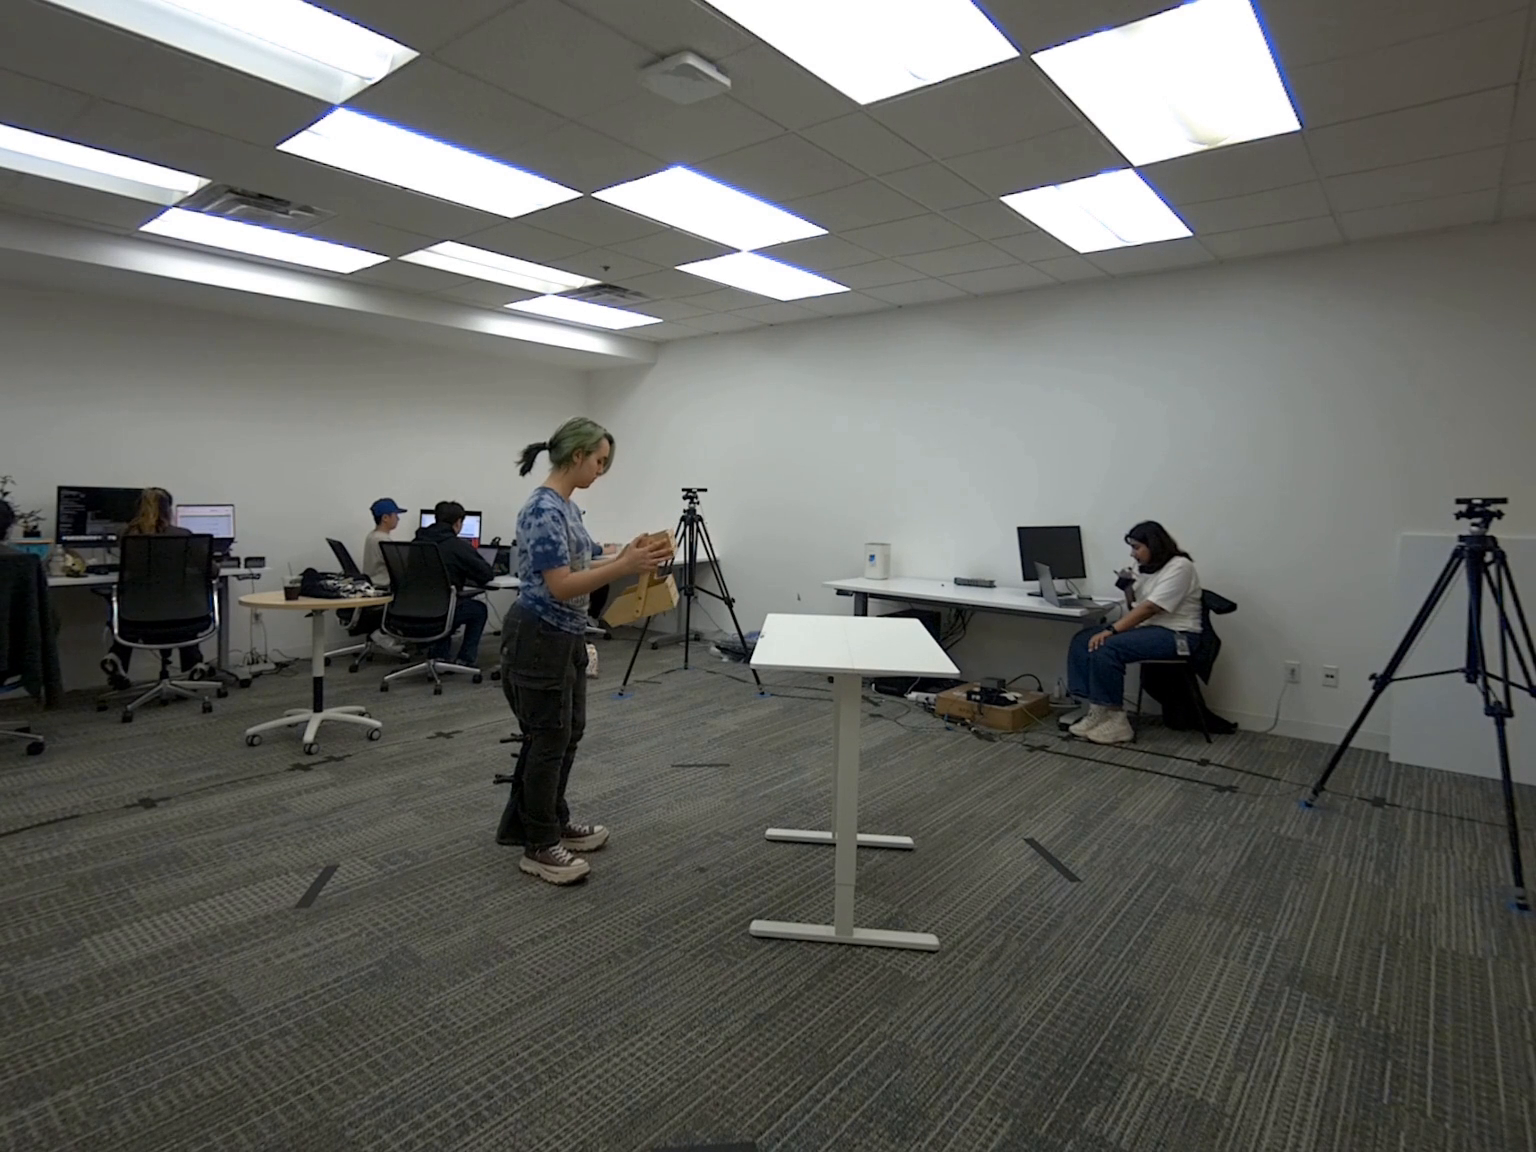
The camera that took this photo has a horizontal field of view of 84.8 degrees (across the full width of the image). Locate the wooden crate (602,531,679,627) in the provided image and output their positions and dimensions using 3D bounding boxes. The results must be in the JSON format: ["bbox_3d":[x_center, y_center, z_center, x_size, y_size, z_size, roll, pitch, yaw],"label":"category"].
[{"bbox_3d":[-0.486,0.005,3.088,0.302,0.272,0.325,-17,4,1],"label":"wooden crate"}]
